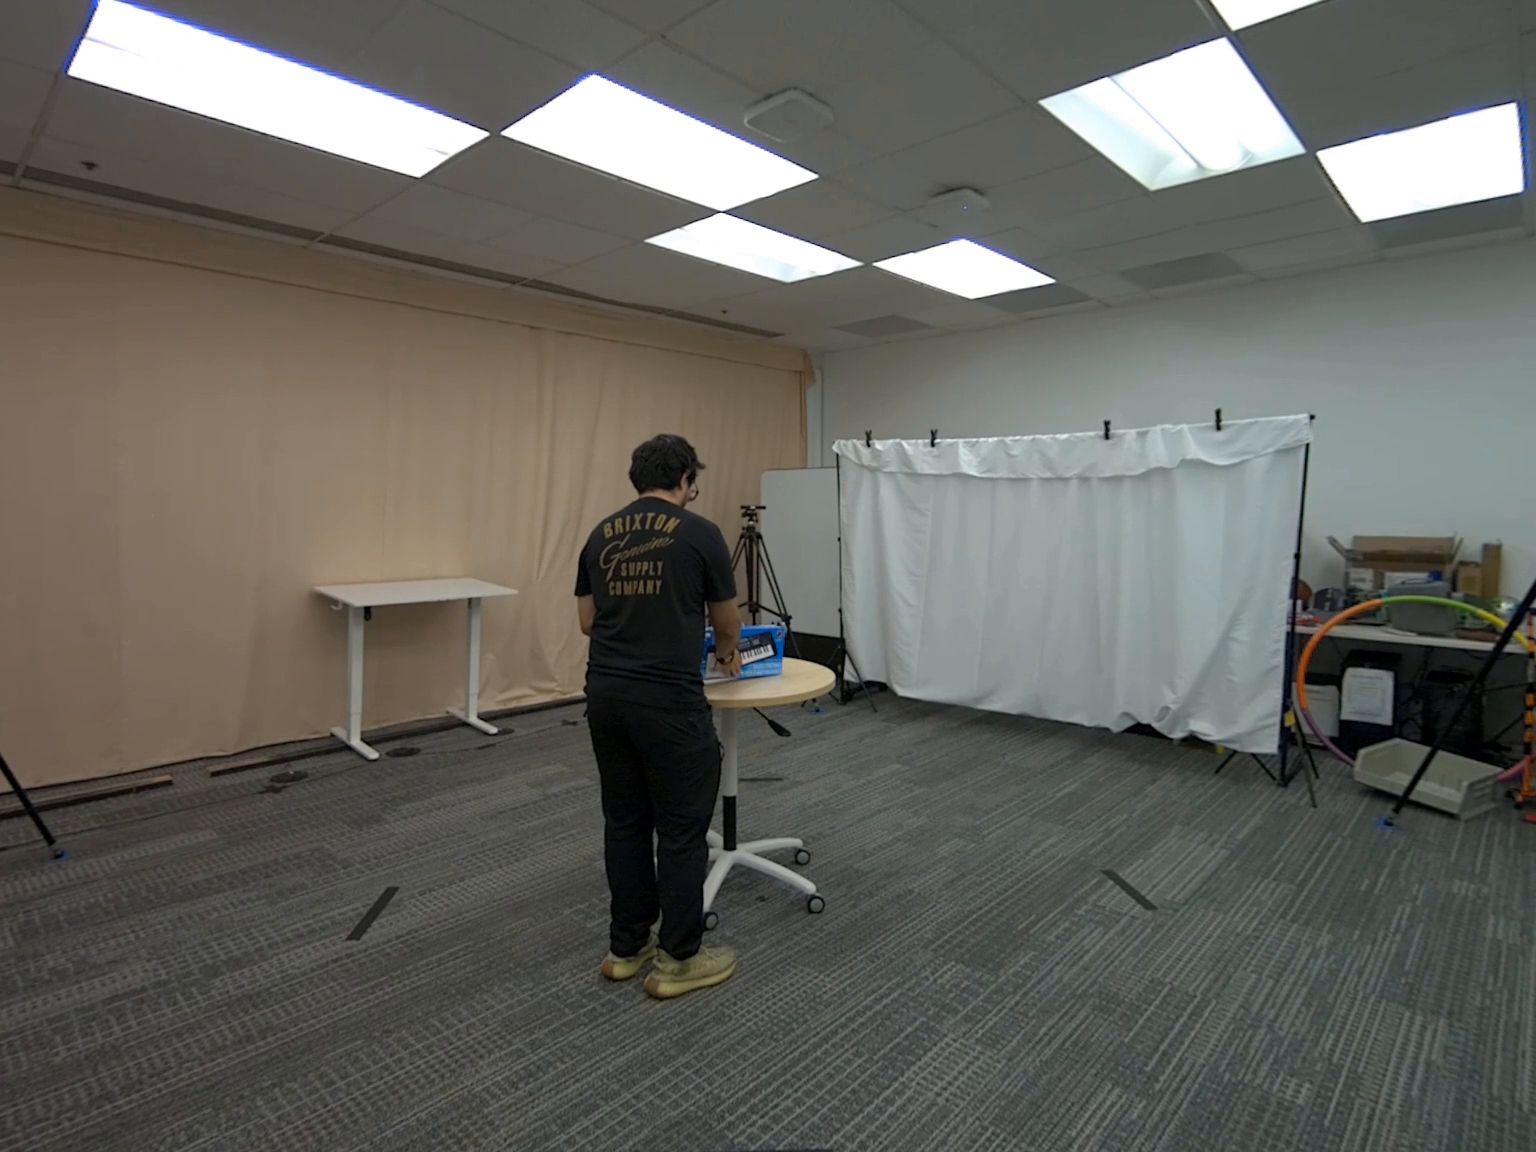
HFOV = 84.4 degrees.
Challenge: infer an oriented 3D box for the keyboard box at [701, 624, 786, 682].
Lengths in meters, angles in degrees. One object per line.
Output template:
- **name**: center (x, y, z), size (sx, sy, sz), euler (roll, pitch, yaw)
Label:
- **keyboard box**: center (-0.125, 0.267, 2.919), size (0.423, 0.176, 0.061), euler (0, 2, -37)
